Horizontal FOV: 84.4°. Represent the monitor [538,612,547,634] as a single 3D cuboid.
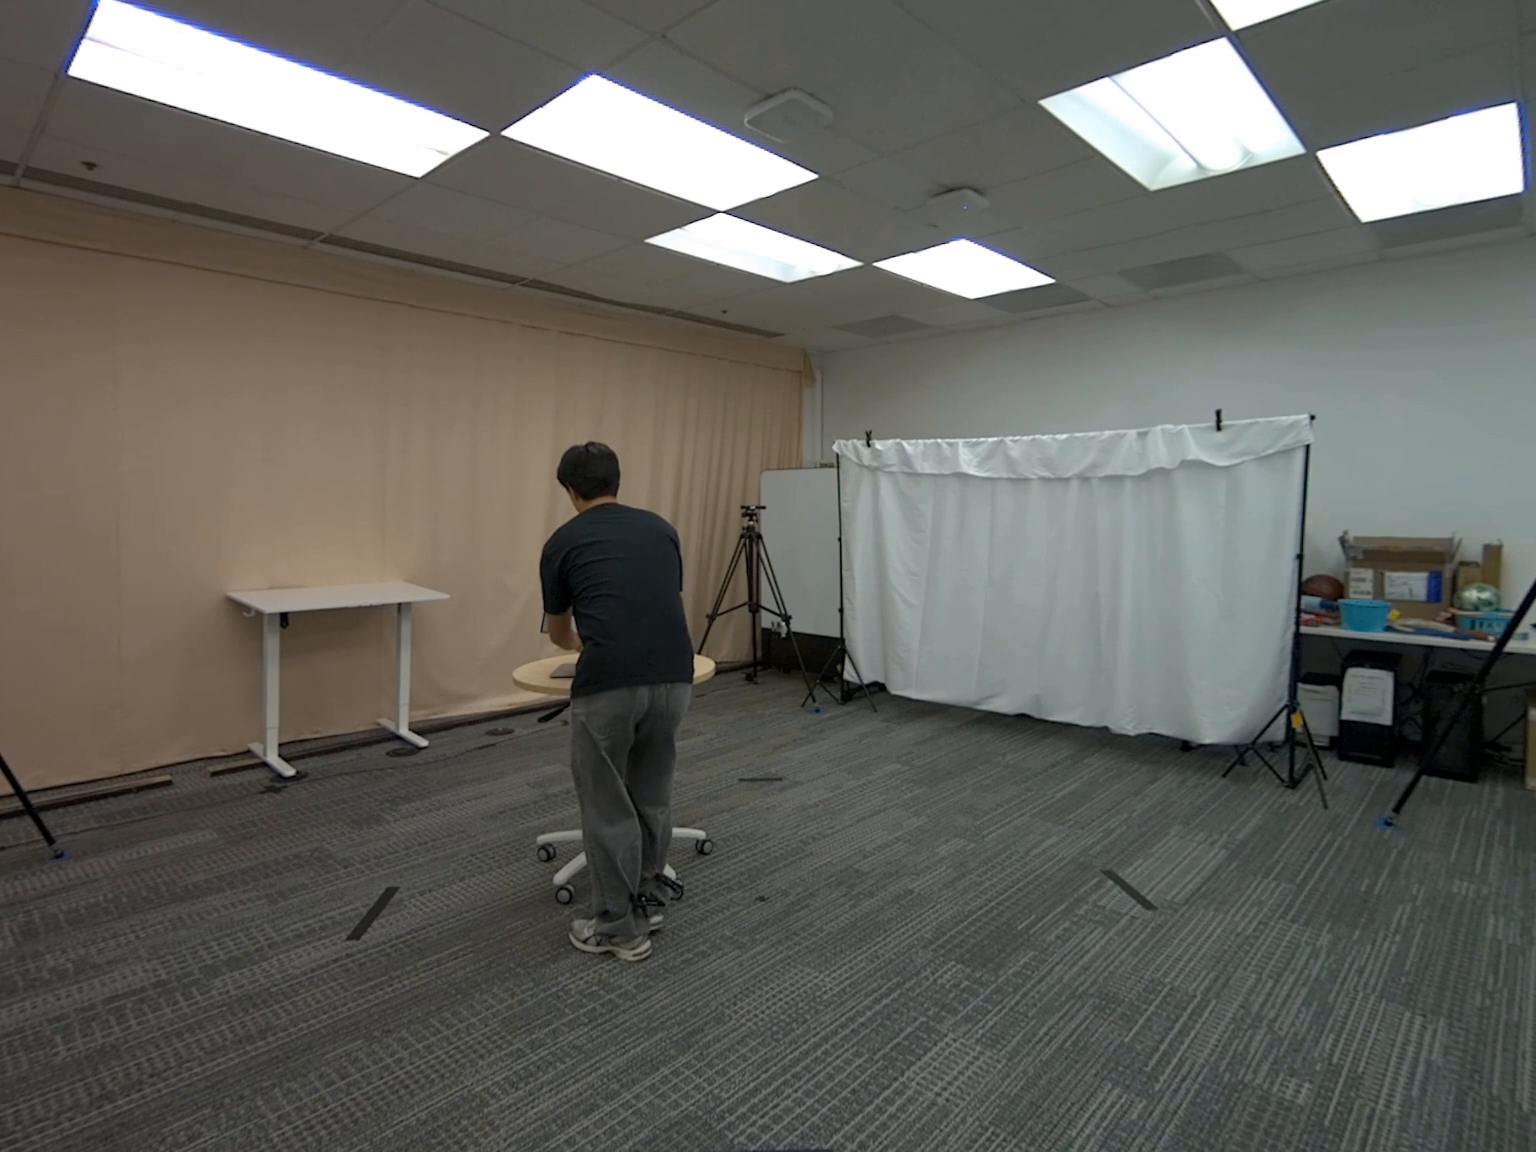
[{"bbox_3d":[-0.705,0.094,3.136,0.222,0.565,0.563,-3,3,-1],"label":"monitor"}]
